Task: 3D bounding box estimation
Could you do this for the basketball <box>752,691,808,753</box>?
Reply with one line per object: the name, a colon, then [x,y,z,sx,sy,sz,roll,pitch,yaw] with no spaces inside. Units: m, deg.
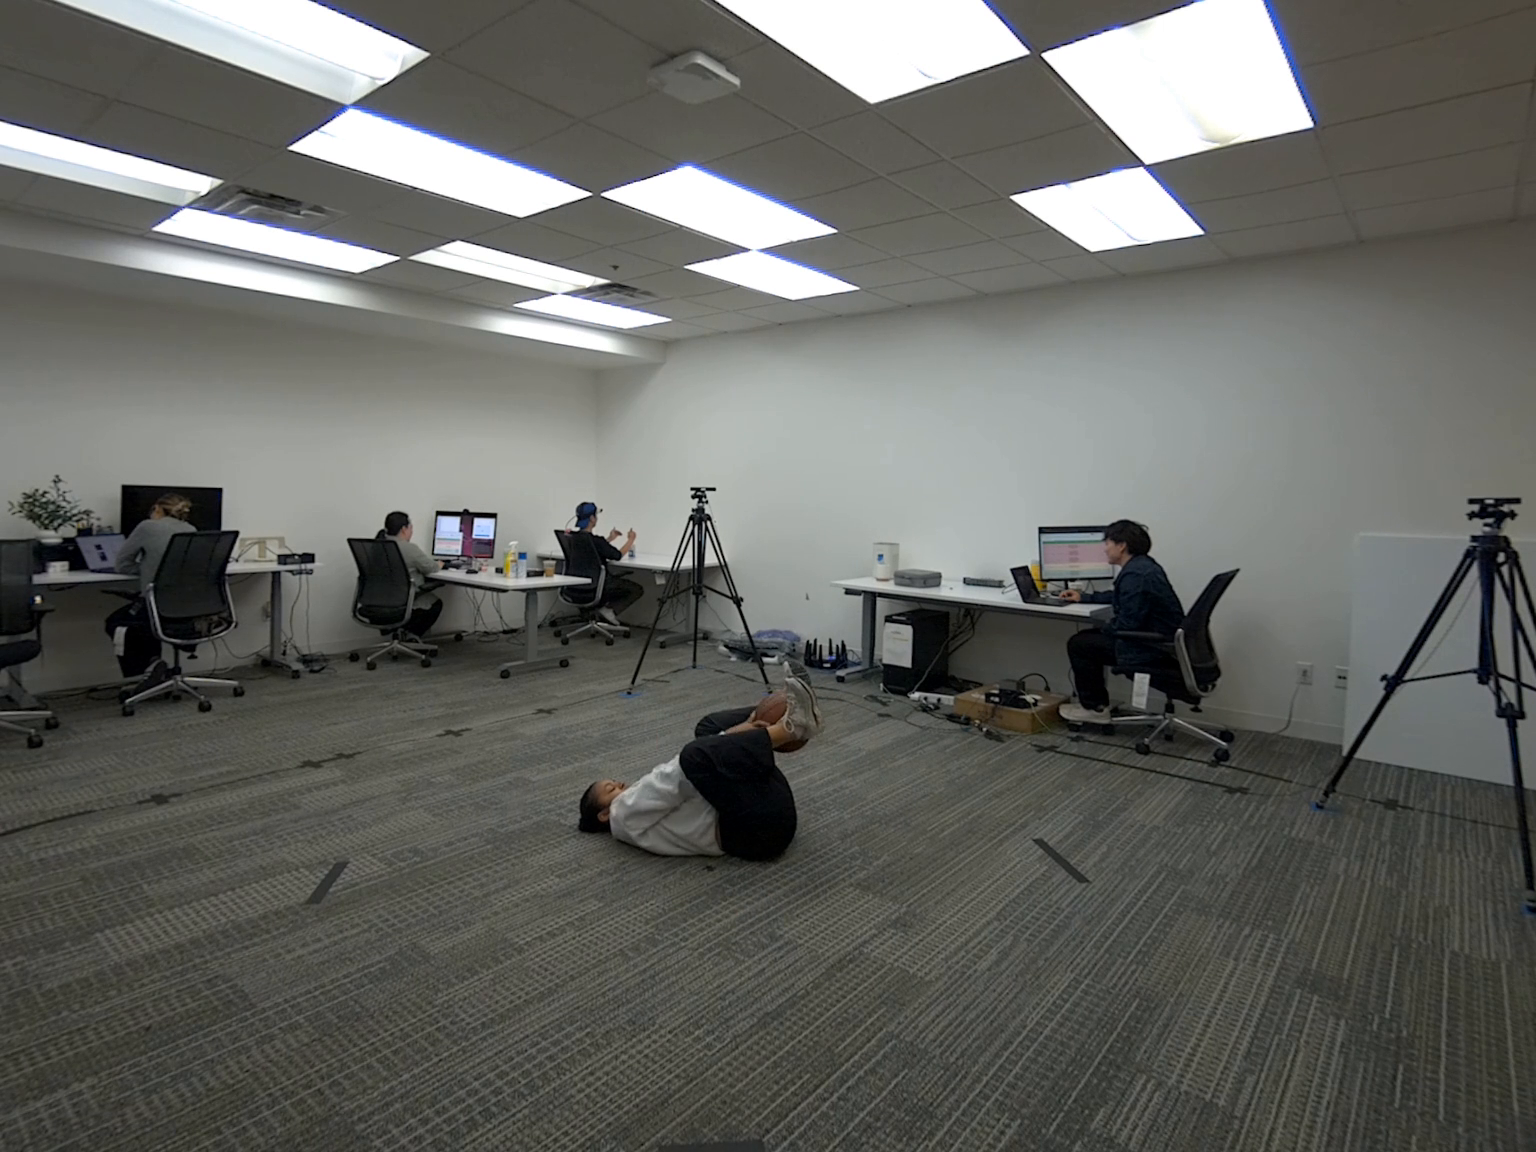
basketball: [0.062,0.556,3.338,0.236,0.234,0.238,-2,8,-2]
